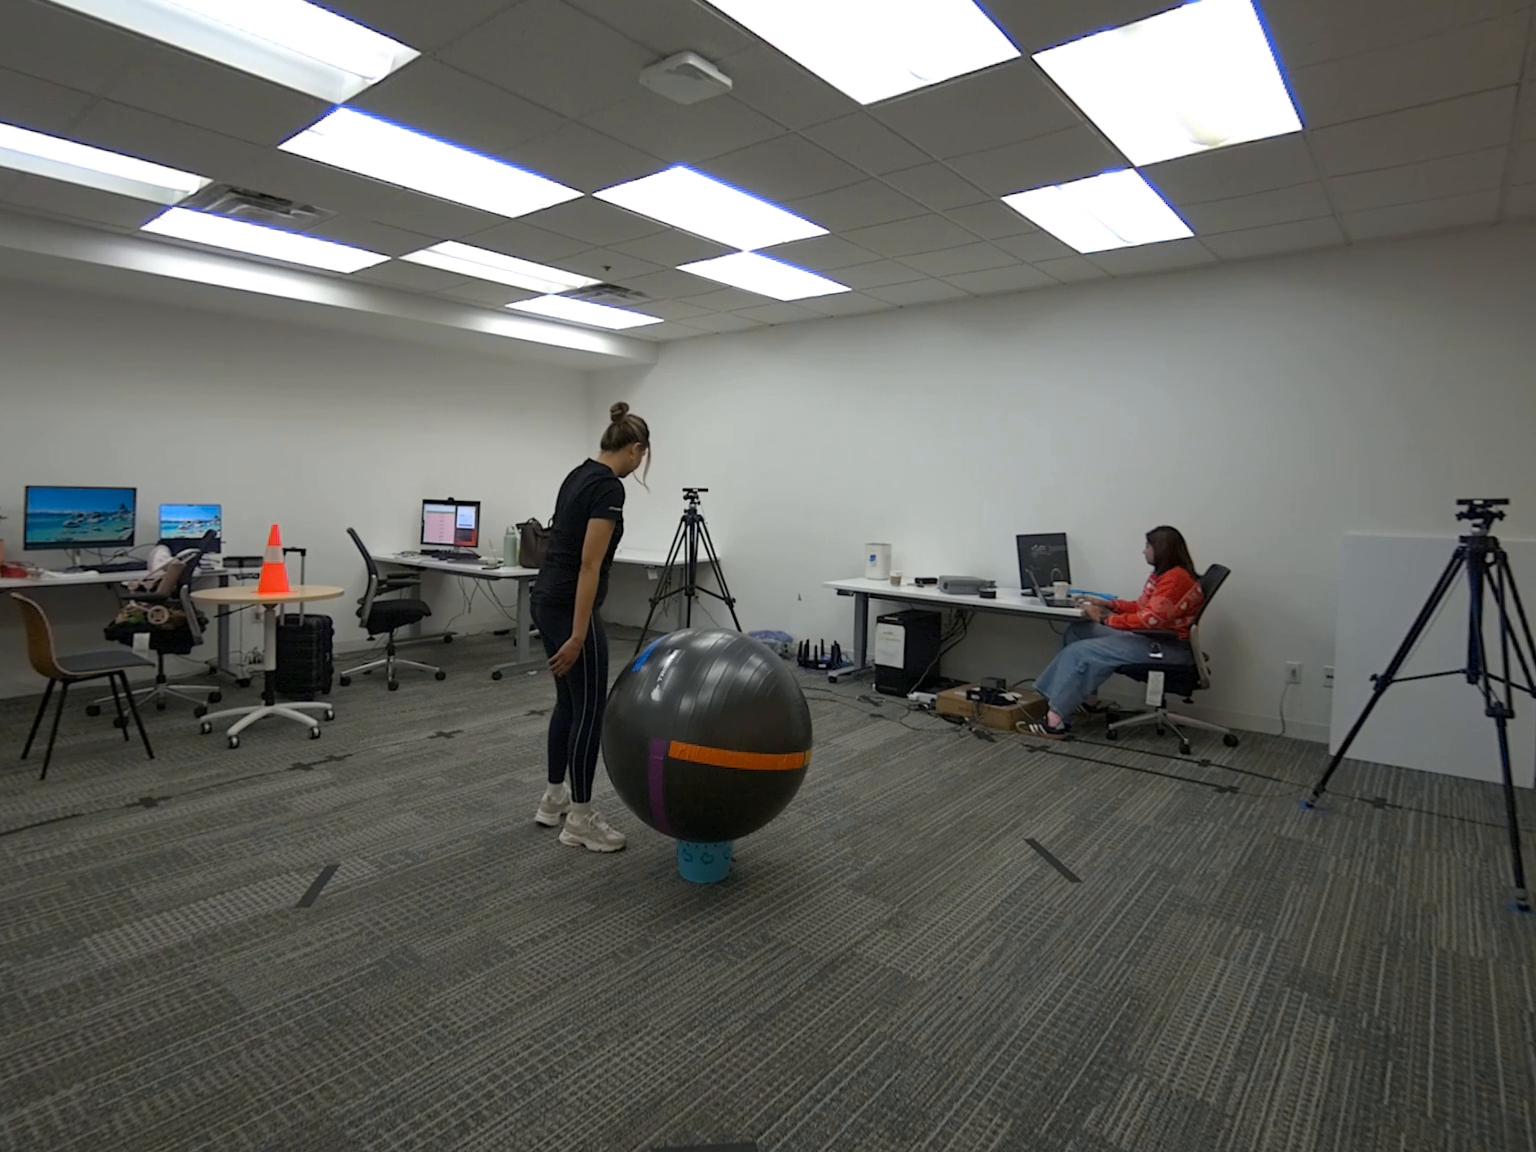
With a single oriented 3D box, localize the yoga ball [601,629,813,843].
[{"bbox_3d":[-0.231,0.564,3.063,0.757,0.755,0.762,1,4,-2],"label":"yoga ball"}]
